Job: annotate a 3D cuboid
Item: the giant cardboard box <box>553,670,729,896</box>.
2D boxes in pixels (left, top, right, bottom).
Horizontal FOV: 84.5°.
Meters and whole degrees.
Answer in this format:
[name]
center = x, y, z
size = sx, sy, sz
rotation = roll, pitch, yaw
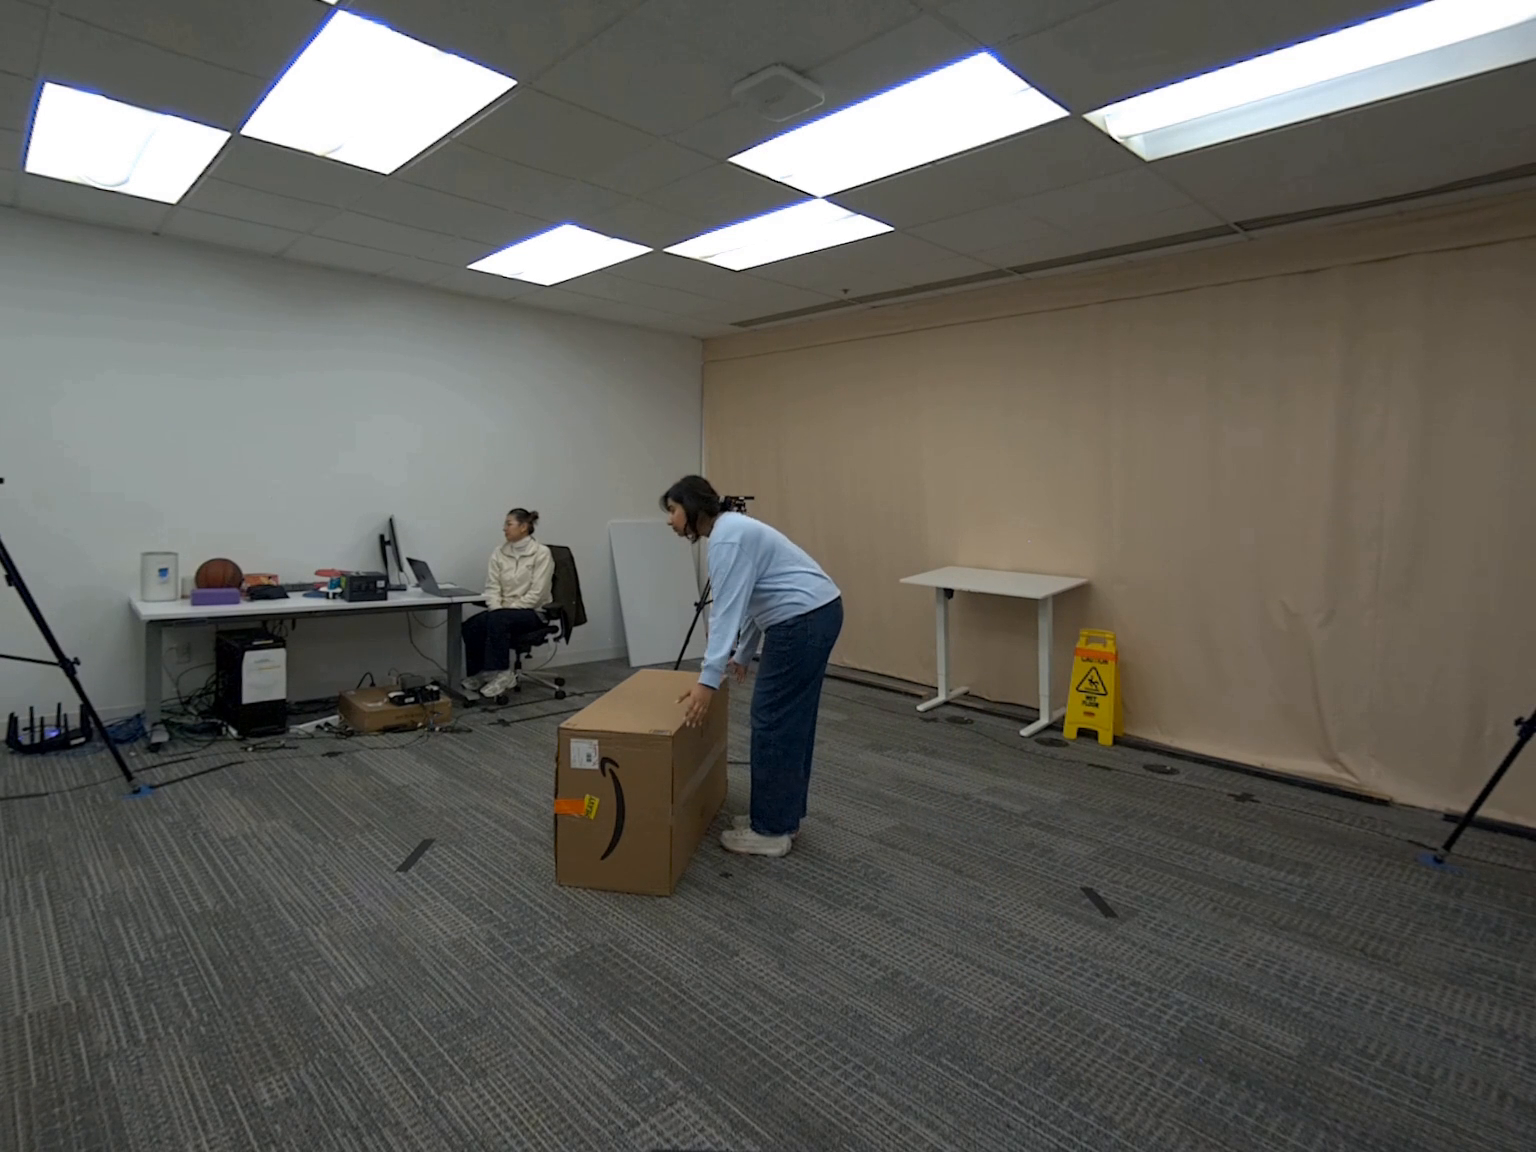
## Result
[giant cardboard box]
center = -0.478, 0.775, 3.444
size = 0.429, 0.576, 1.021
rotation = 2, 5, 9
